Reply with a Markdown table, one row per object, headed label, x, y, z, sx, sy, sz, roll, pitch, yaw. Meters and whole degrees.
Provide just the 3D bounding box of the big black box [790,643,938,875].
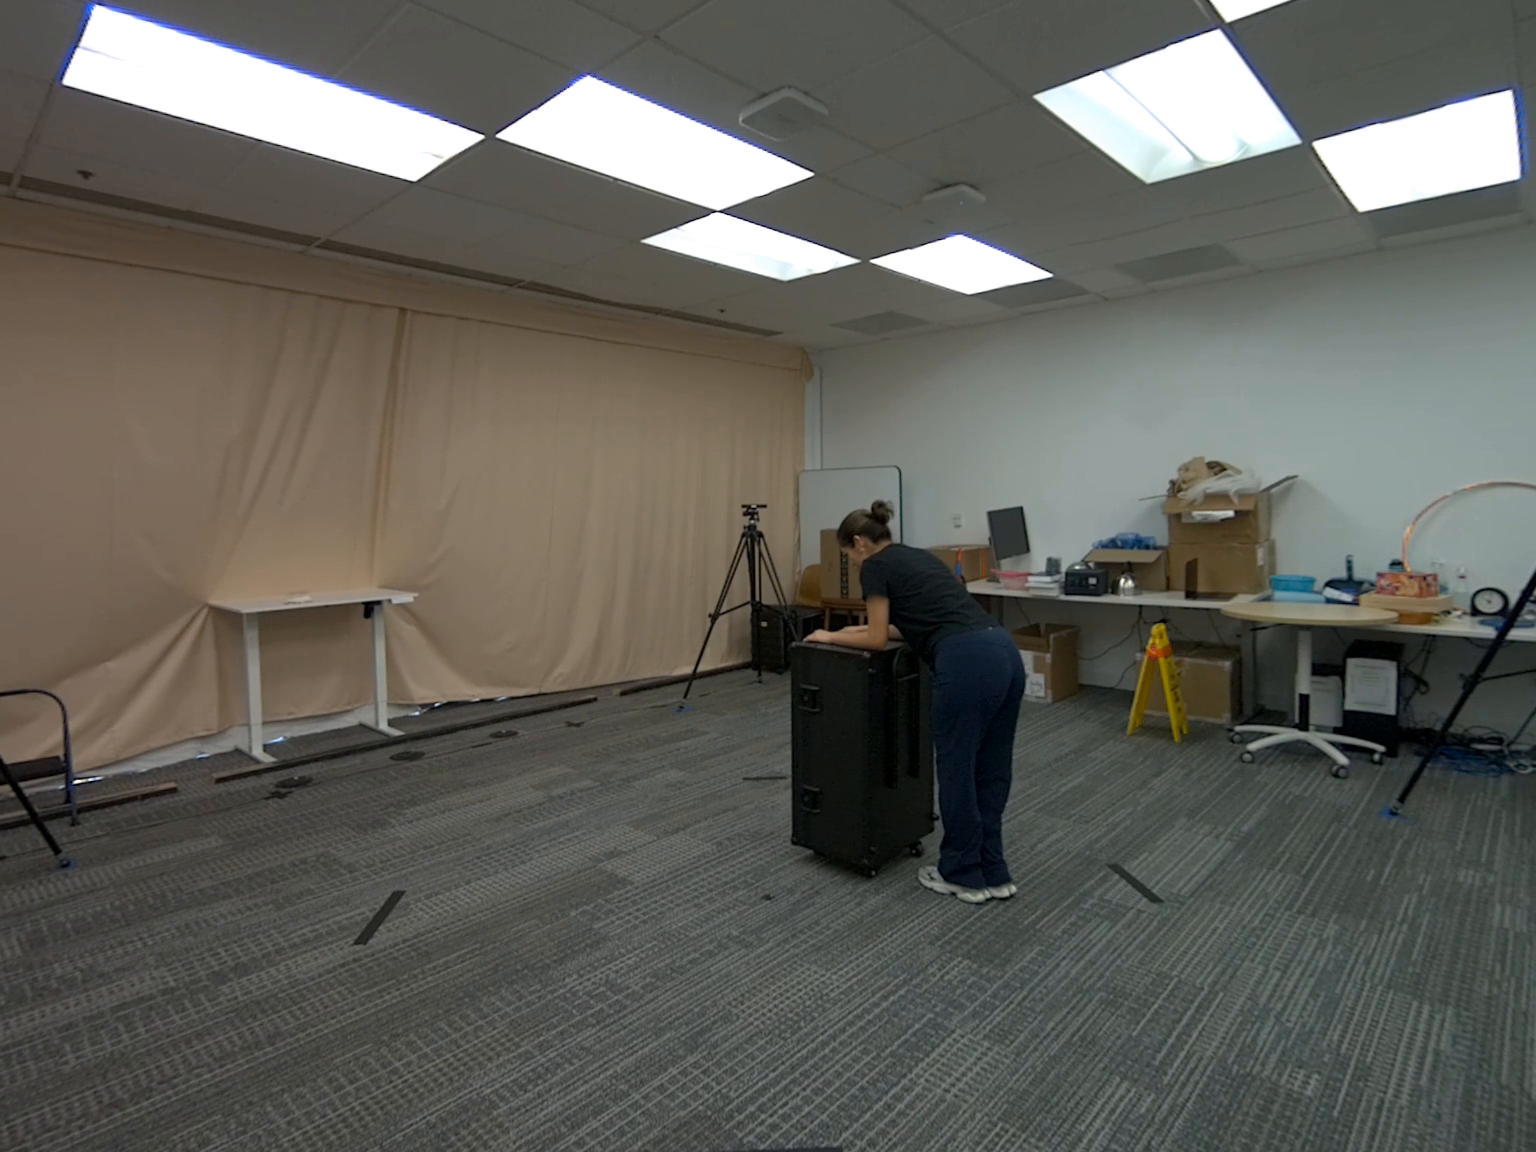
| label | x | y | z | sx | sy | sz | roll | pitch | yaw |
| --- | --- | --- | --- | --- | --- | --- | --- | --- | --- |
| big black box | 0.396 | 0.620 | 3.303 | 0.409 | 0.860 | 0.505 | 2 | 3 | 41 |
